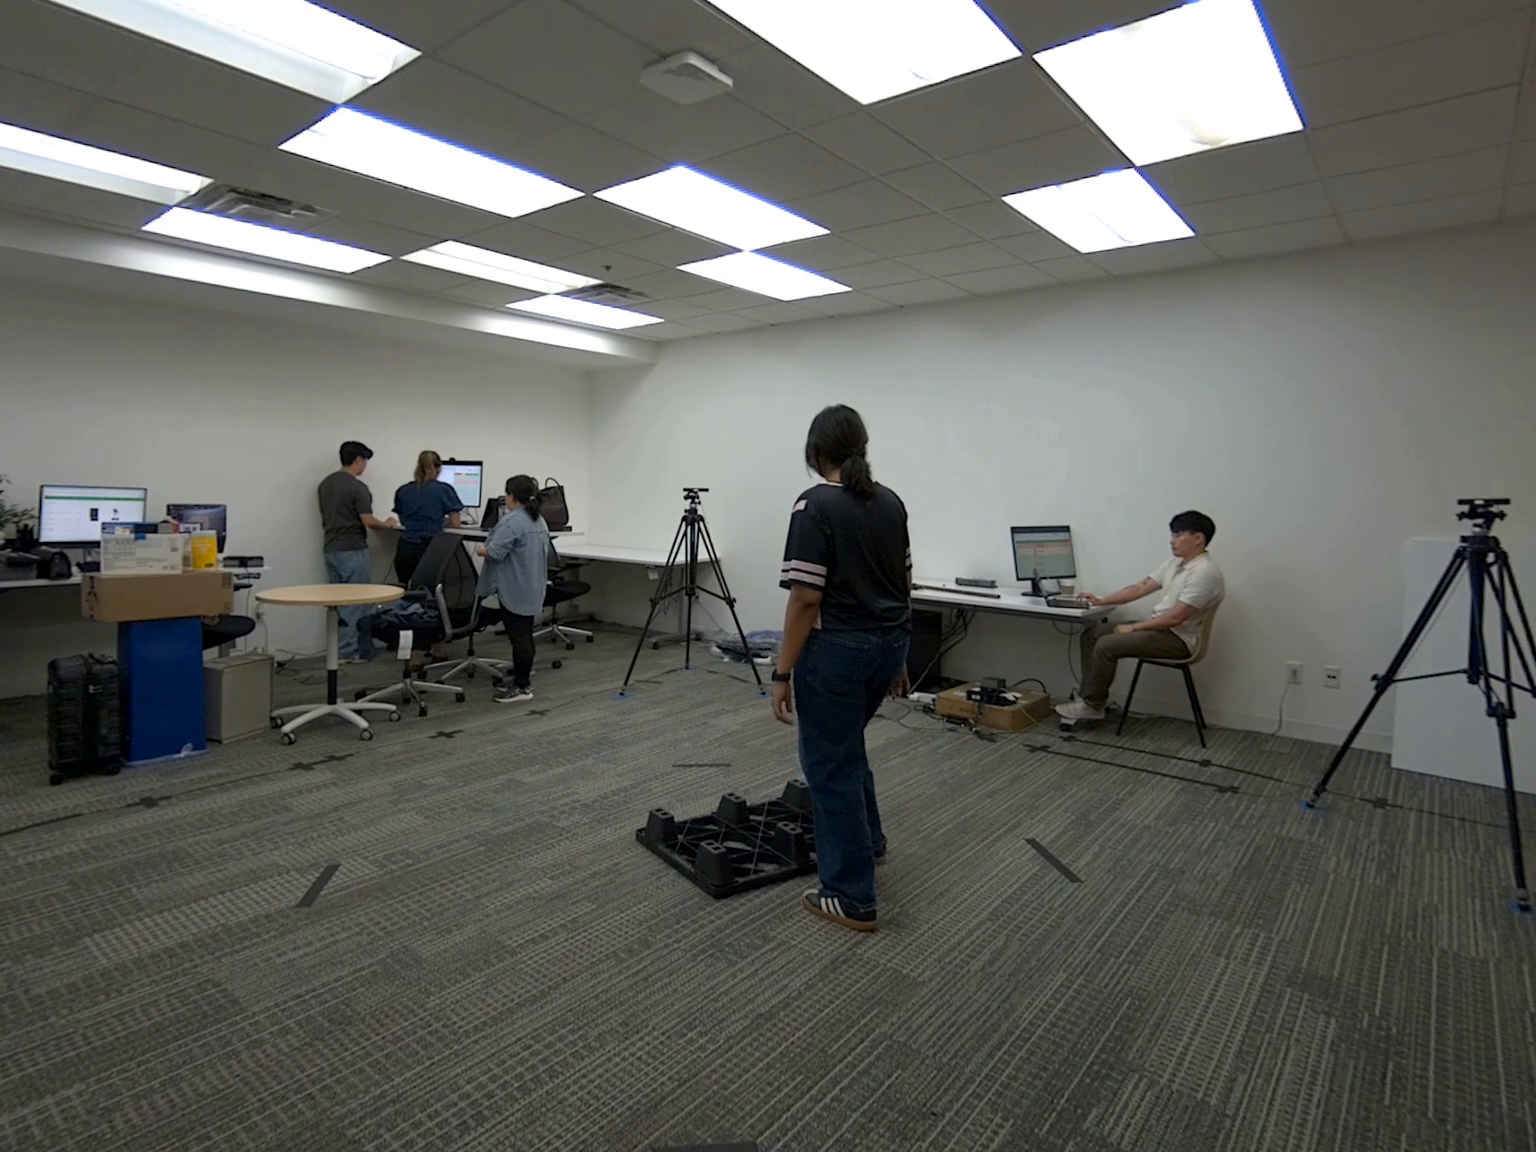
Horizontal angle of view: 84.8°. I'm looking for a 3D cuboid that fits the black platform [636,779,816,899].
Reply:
[{"bbox_3d":[-0.044,0.986,3.324,0.782,0.143,0.625,-3,6,-35],"label":"black platform"}]
